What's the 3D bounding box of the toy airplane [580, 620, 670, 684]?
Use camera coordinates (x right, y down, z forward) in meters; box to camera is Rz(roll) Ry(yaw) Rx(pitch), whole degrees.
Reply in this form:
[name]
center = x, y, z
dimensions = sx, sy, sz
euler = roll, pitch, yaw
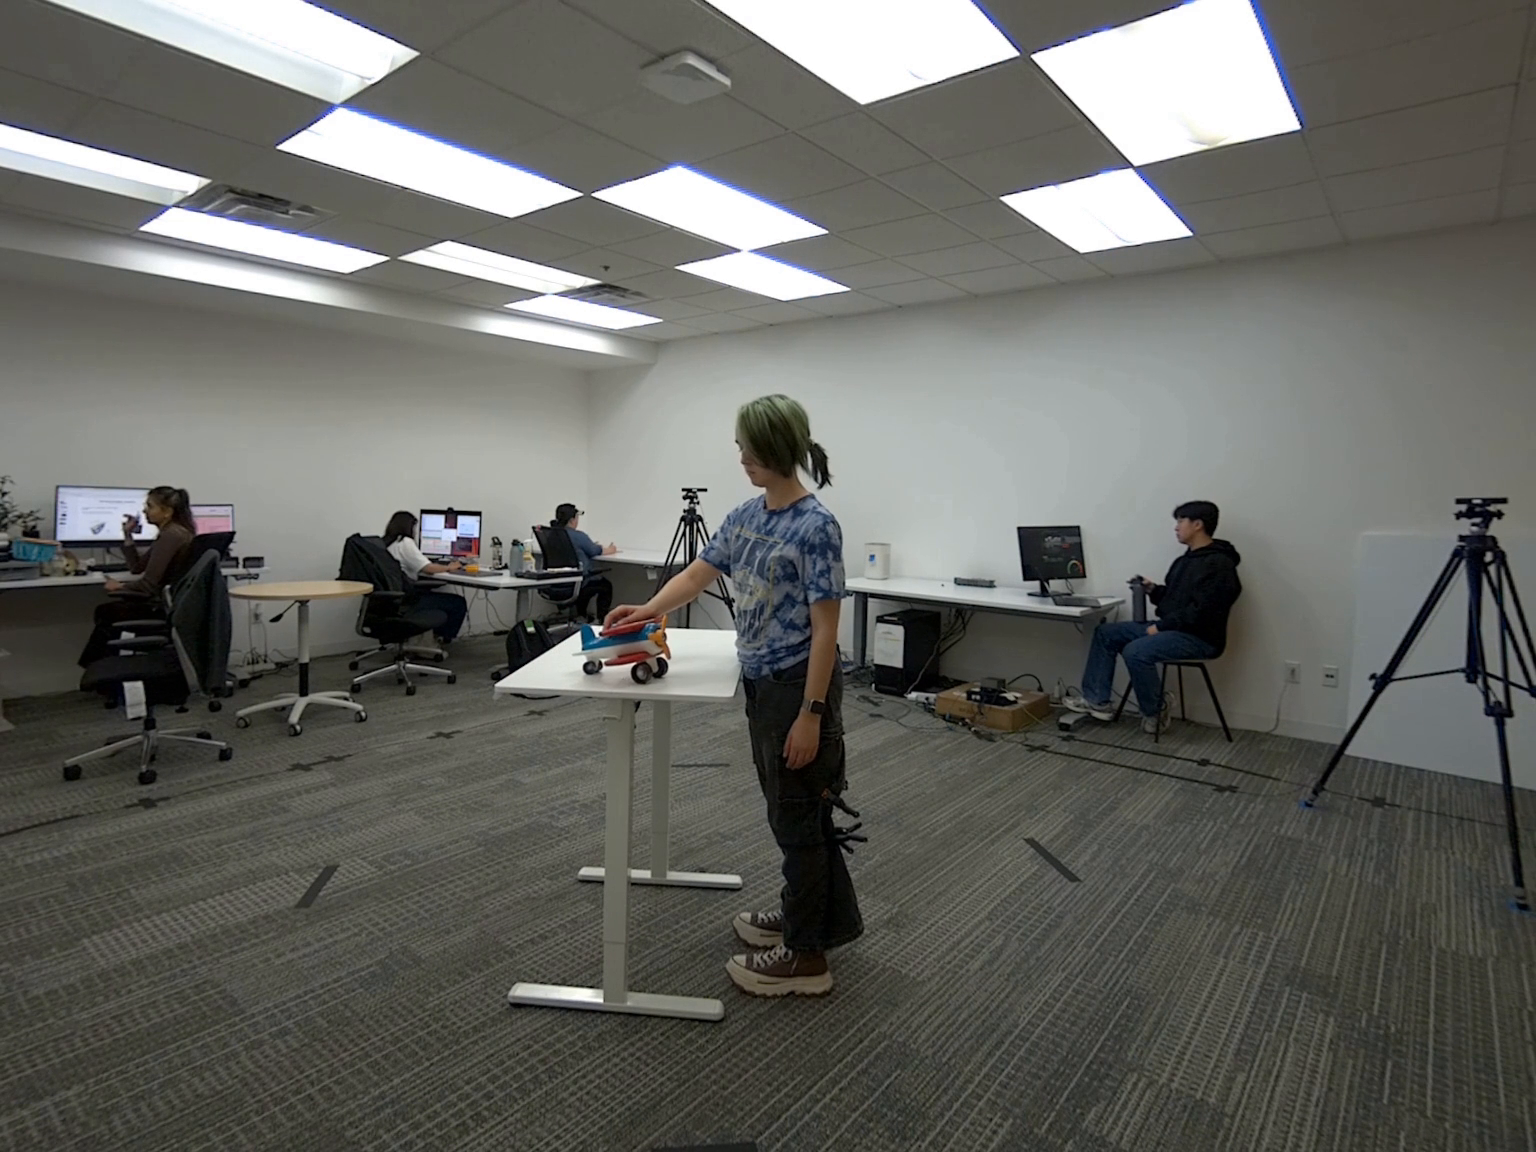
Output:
[toy airplane]
center = -0.395, 0.194, 2.247
dimensions = 0.257, 0.156, 0.253
euler = 1, 4, -7
